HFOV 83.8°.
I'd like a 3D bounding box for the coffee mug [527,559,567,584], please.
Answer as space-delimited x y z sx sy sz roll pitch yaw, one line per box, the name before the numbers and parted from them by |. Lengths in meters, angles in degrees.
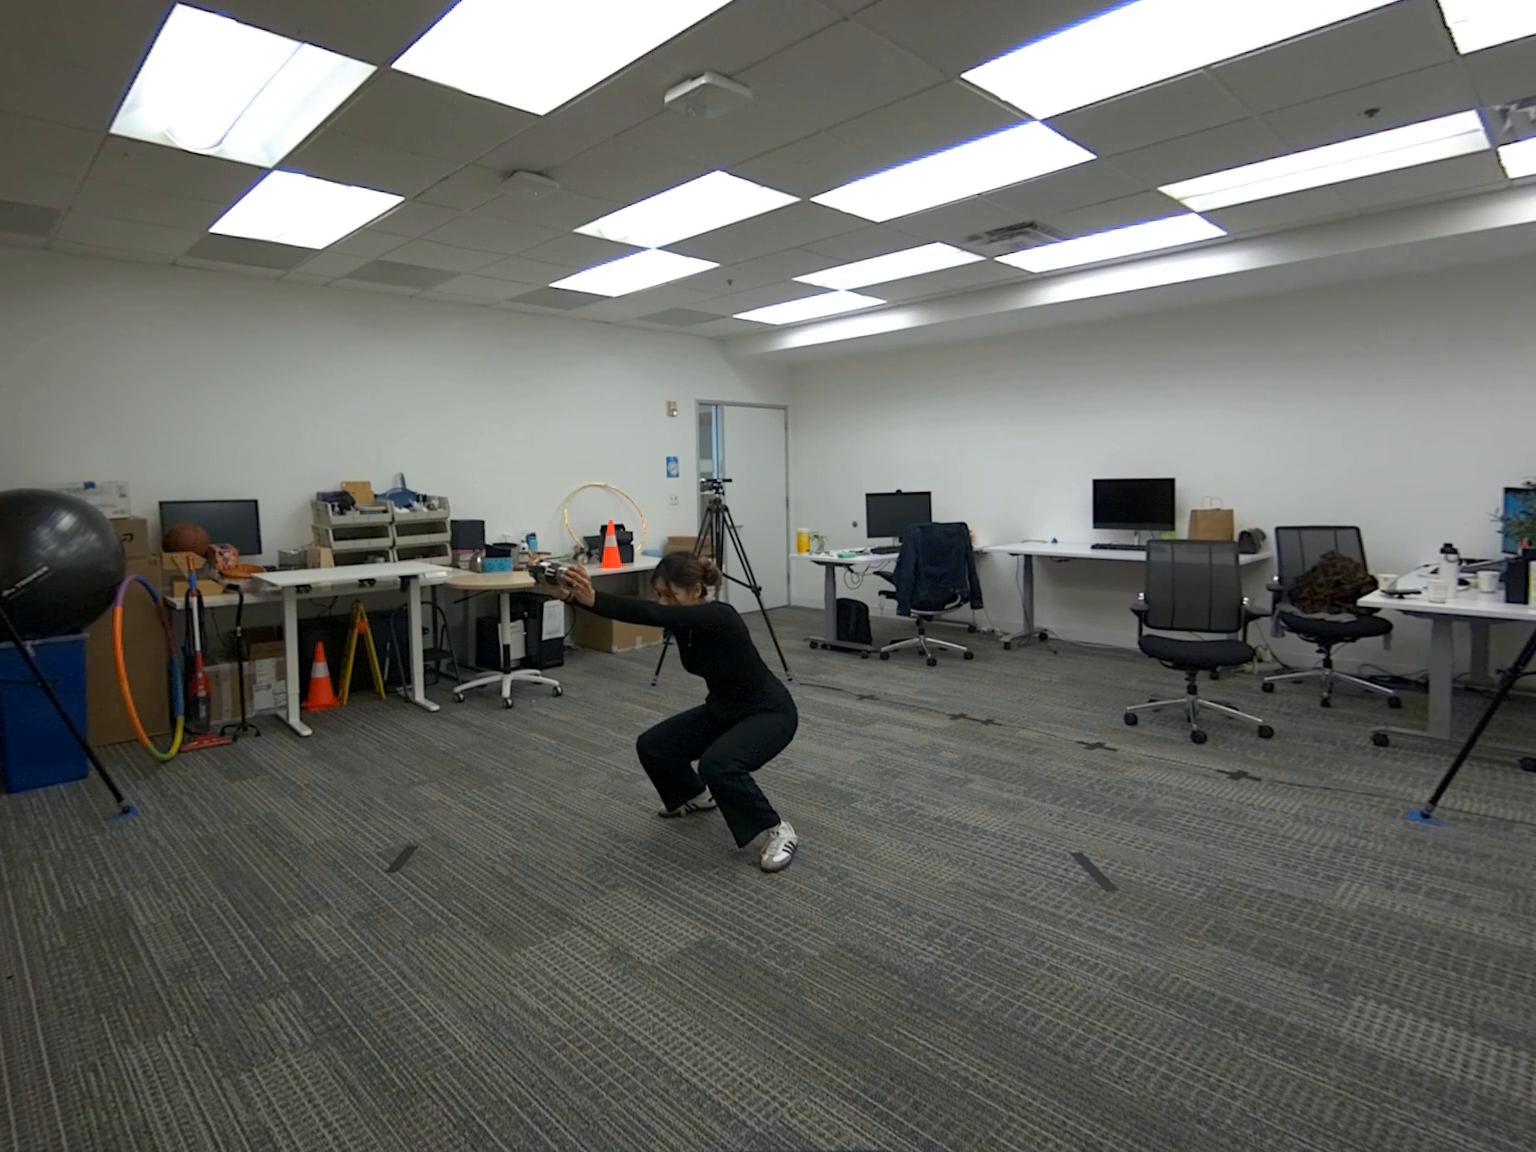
coffee mug | -0.715 0.001 2.863 0.119 0.087 0.209 -11 12 -34
